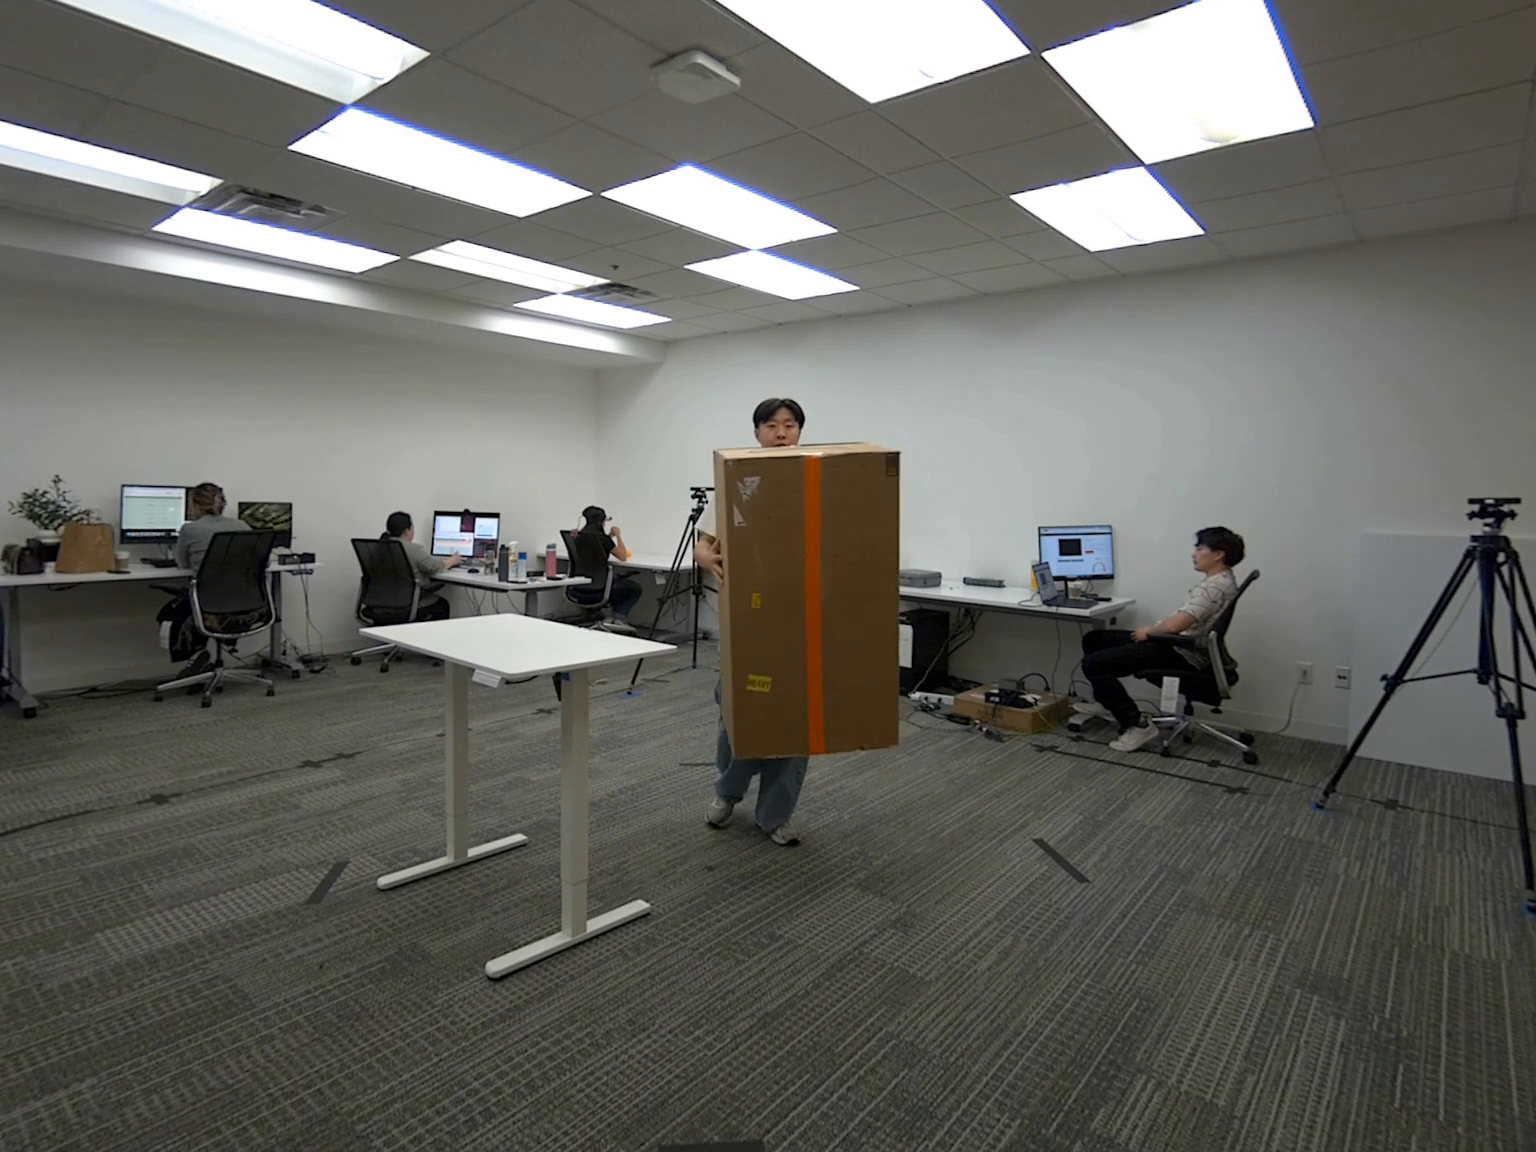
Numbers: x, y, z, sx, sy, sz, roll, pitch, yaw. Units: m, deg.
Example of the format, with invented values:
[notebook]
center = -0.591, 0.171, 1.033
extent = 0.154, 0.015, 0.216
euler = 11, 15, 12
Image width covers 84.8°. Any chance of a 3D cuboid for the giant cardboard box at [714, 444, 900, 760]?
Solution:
[giant cardboard box]
center = 0.116, 0.056, 3.016
extent = 0.574, 1.016, 0.433
euler = -3, 10, -7
